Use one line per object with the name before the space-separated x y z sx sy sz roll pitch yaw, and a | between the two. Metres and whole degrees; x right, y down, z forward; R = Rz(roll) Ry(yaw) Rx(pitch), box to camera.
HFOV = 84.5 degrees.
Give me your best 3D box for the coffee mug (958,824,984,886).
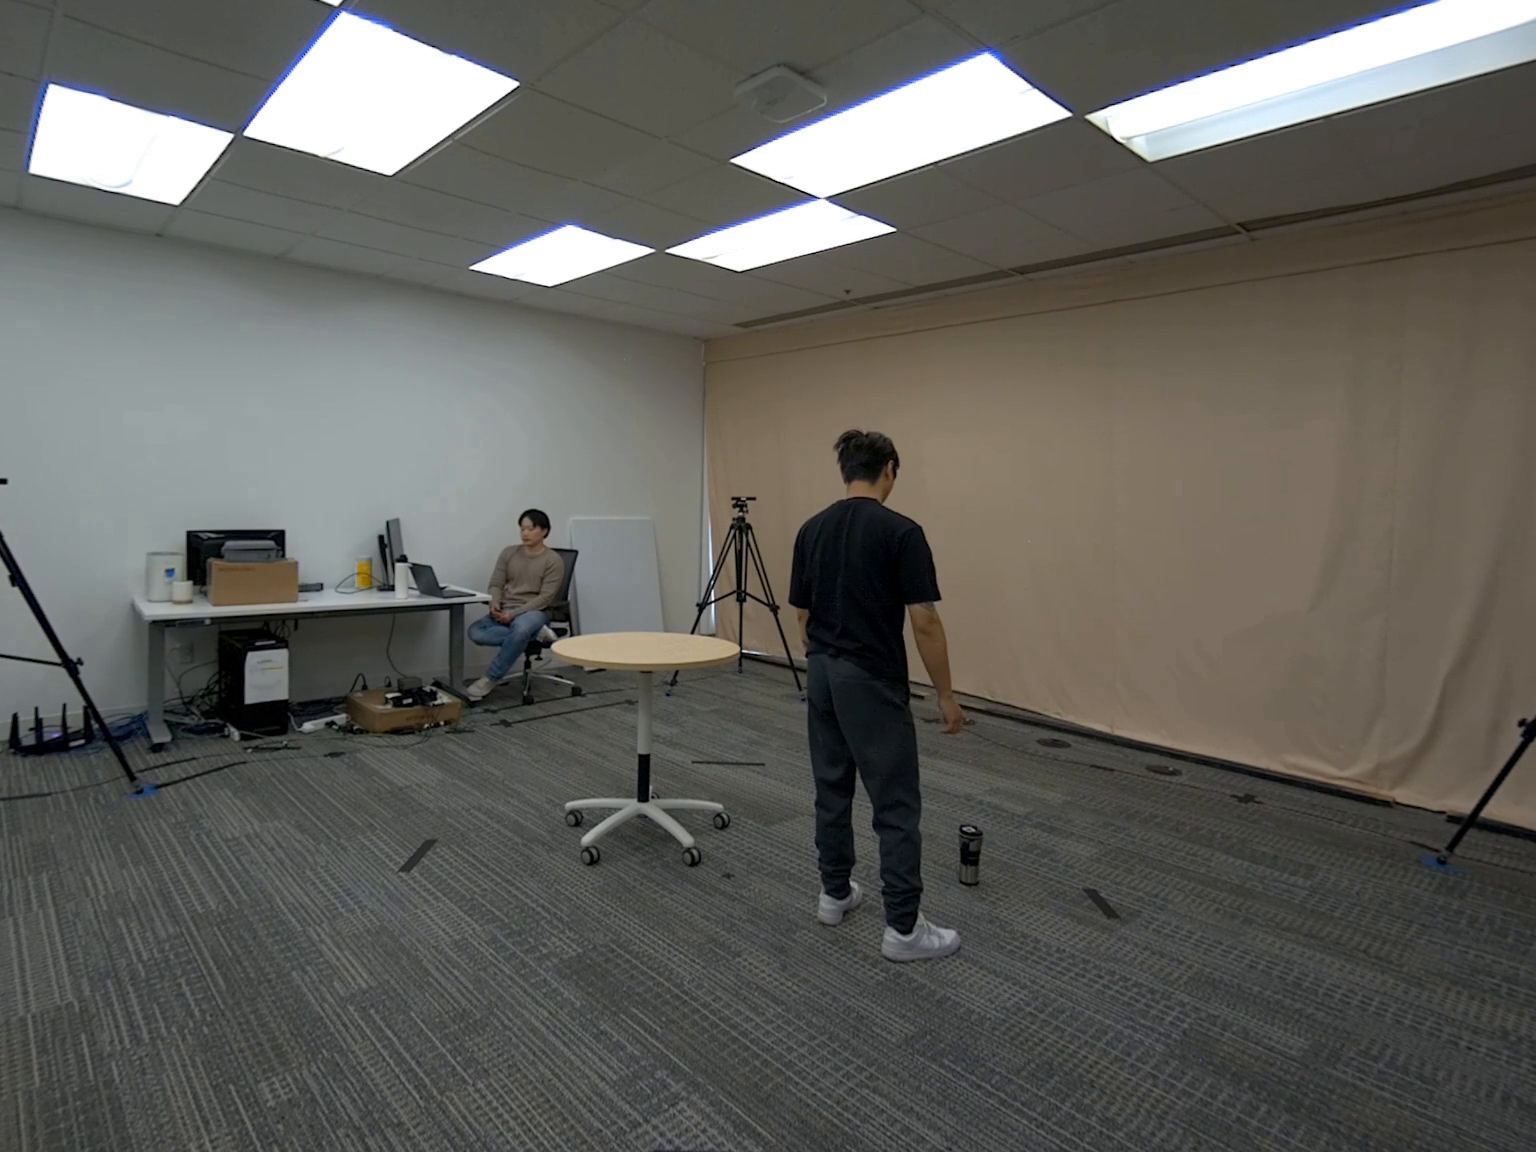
coffee mug | 0.717 1.029 3.091 0.119 0.202 0.090 3 5 -40
